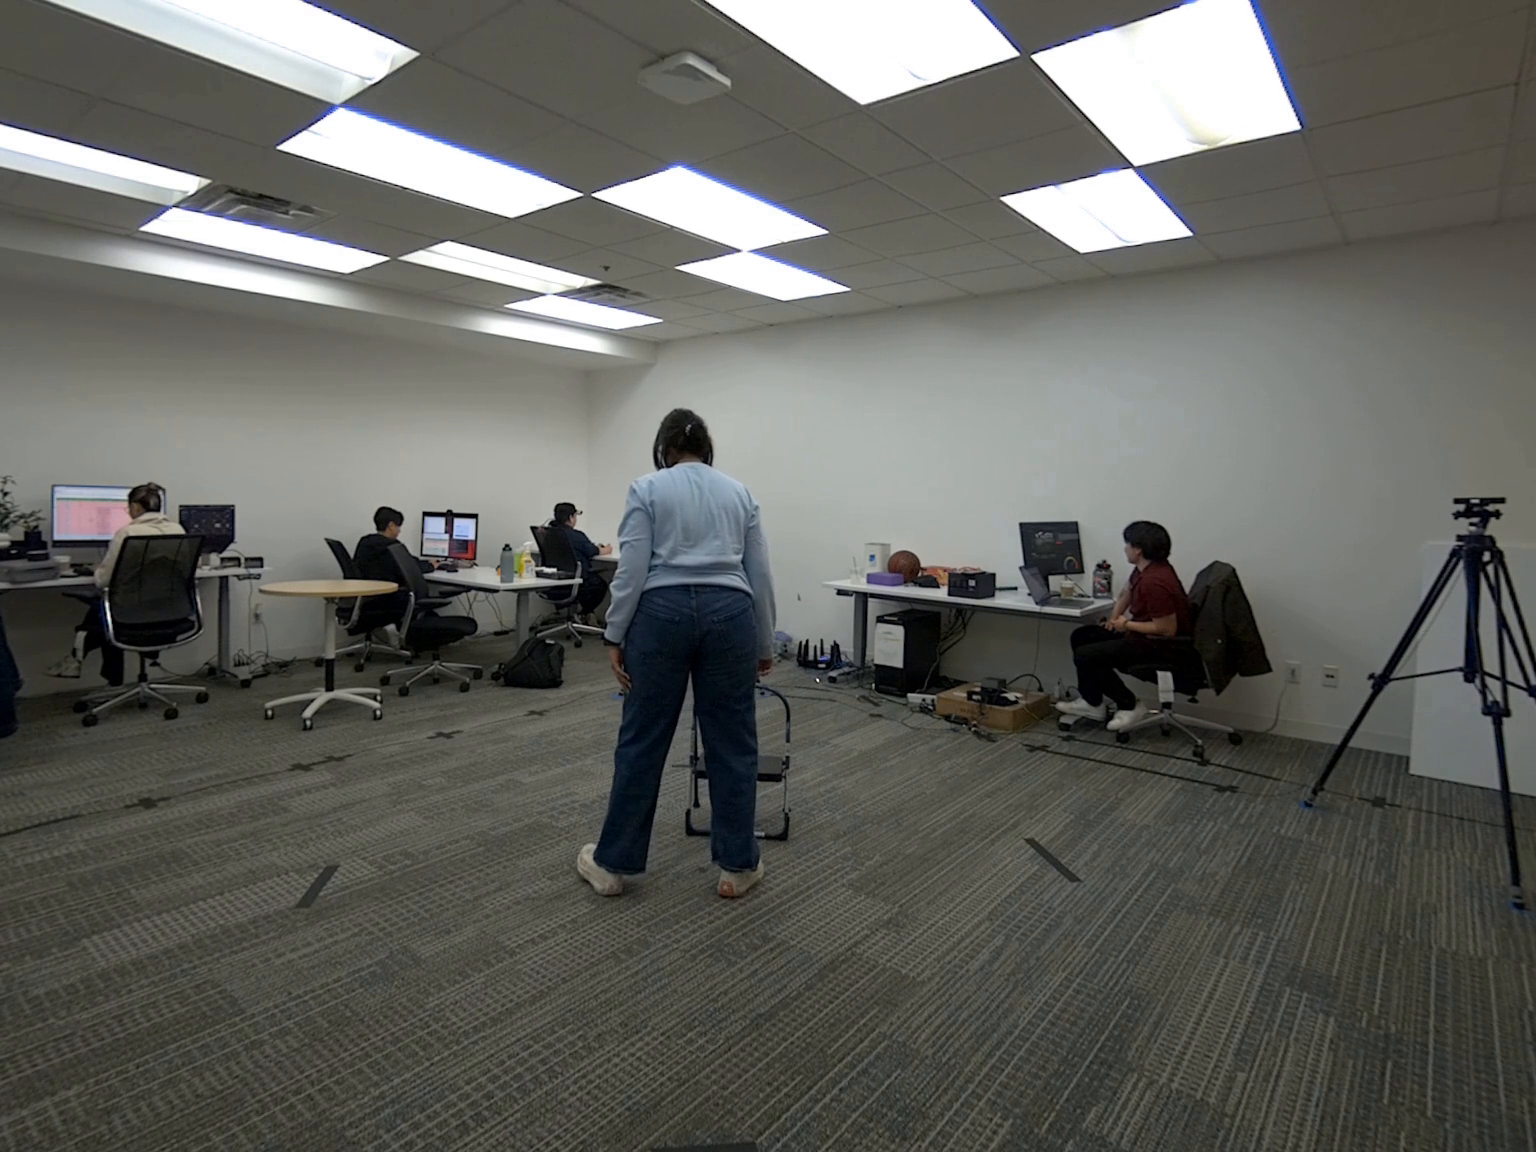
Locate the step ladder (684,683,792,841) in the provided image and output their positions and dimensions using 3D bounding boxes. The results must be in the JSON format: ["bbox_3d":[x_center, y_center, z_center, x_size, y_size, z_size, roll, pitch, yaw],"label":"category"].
[{"bbox_3d":[-0.122,0.729,3.554,0.433,0.605,0.348,1,3,3],"label":"step ladder"}]
